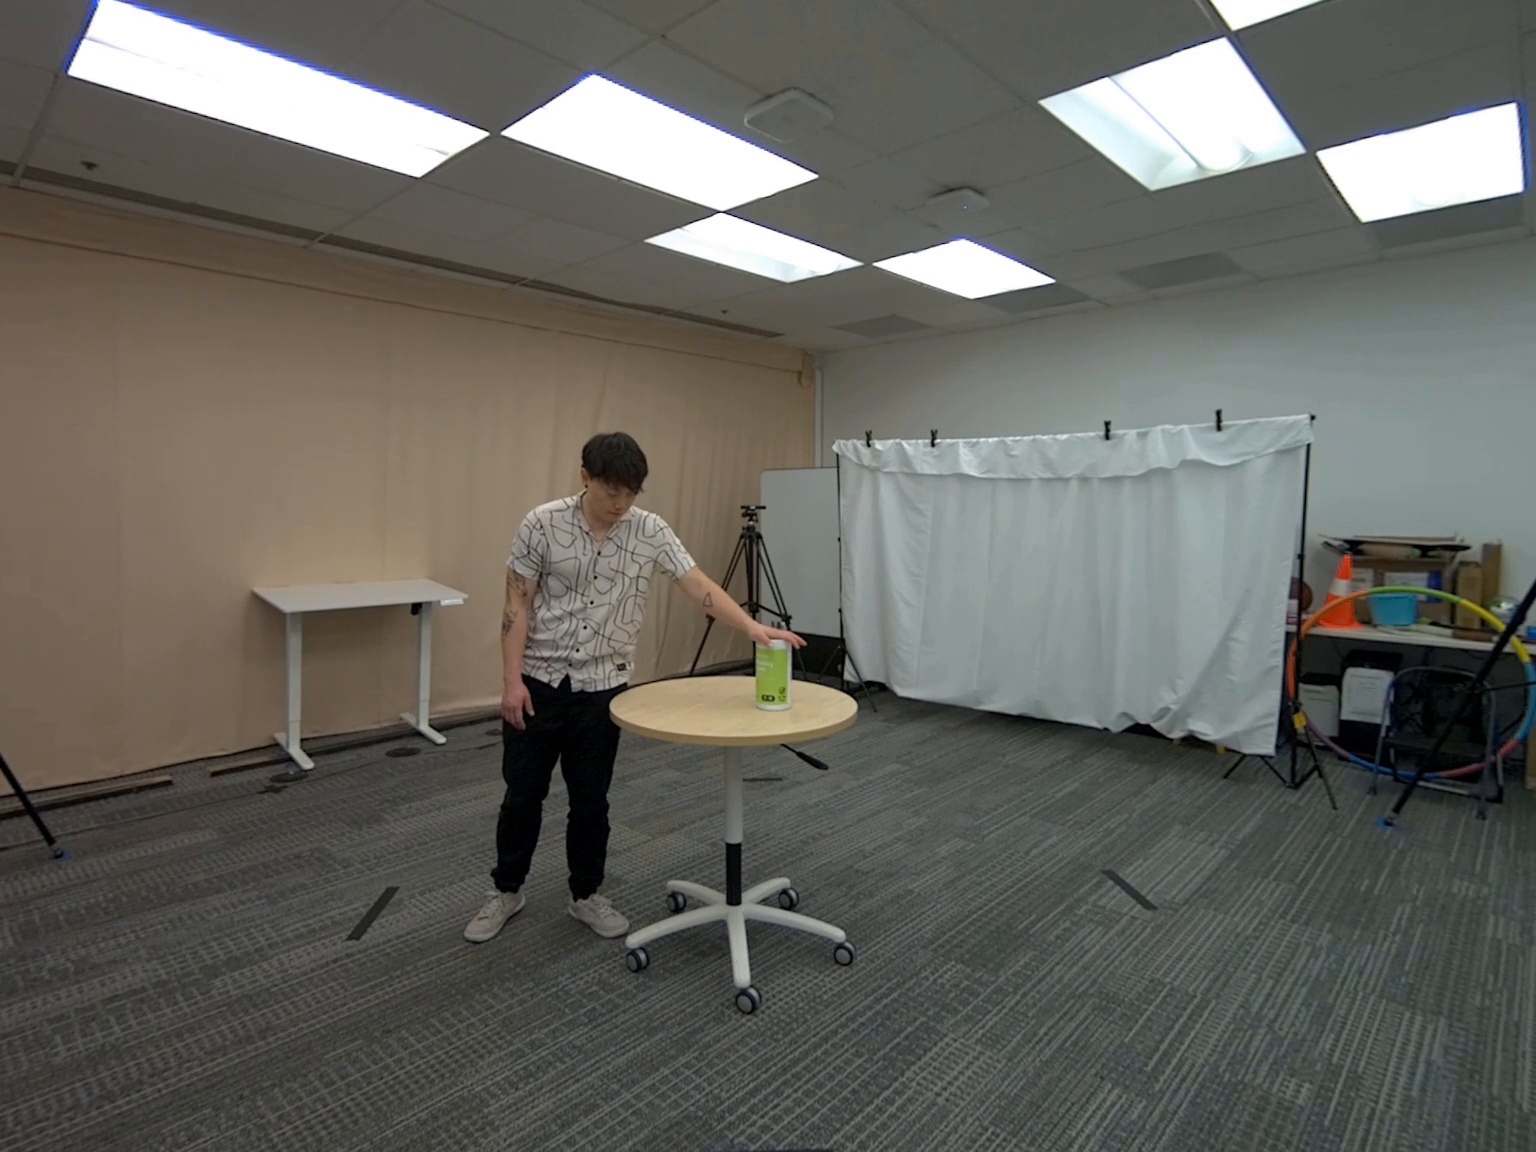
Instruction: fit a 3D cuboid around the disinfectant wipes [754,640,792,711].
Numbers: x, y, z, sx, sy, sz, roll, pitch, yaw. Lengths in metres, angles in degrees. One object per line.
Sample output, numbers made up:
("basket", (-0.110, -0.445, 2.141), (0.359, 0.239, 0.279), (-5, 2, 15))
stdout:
("disinfectant wipes", (0.018, 0.299, 2.549), (0.118, 0.217, 0.118), (-1, 4, -2))
